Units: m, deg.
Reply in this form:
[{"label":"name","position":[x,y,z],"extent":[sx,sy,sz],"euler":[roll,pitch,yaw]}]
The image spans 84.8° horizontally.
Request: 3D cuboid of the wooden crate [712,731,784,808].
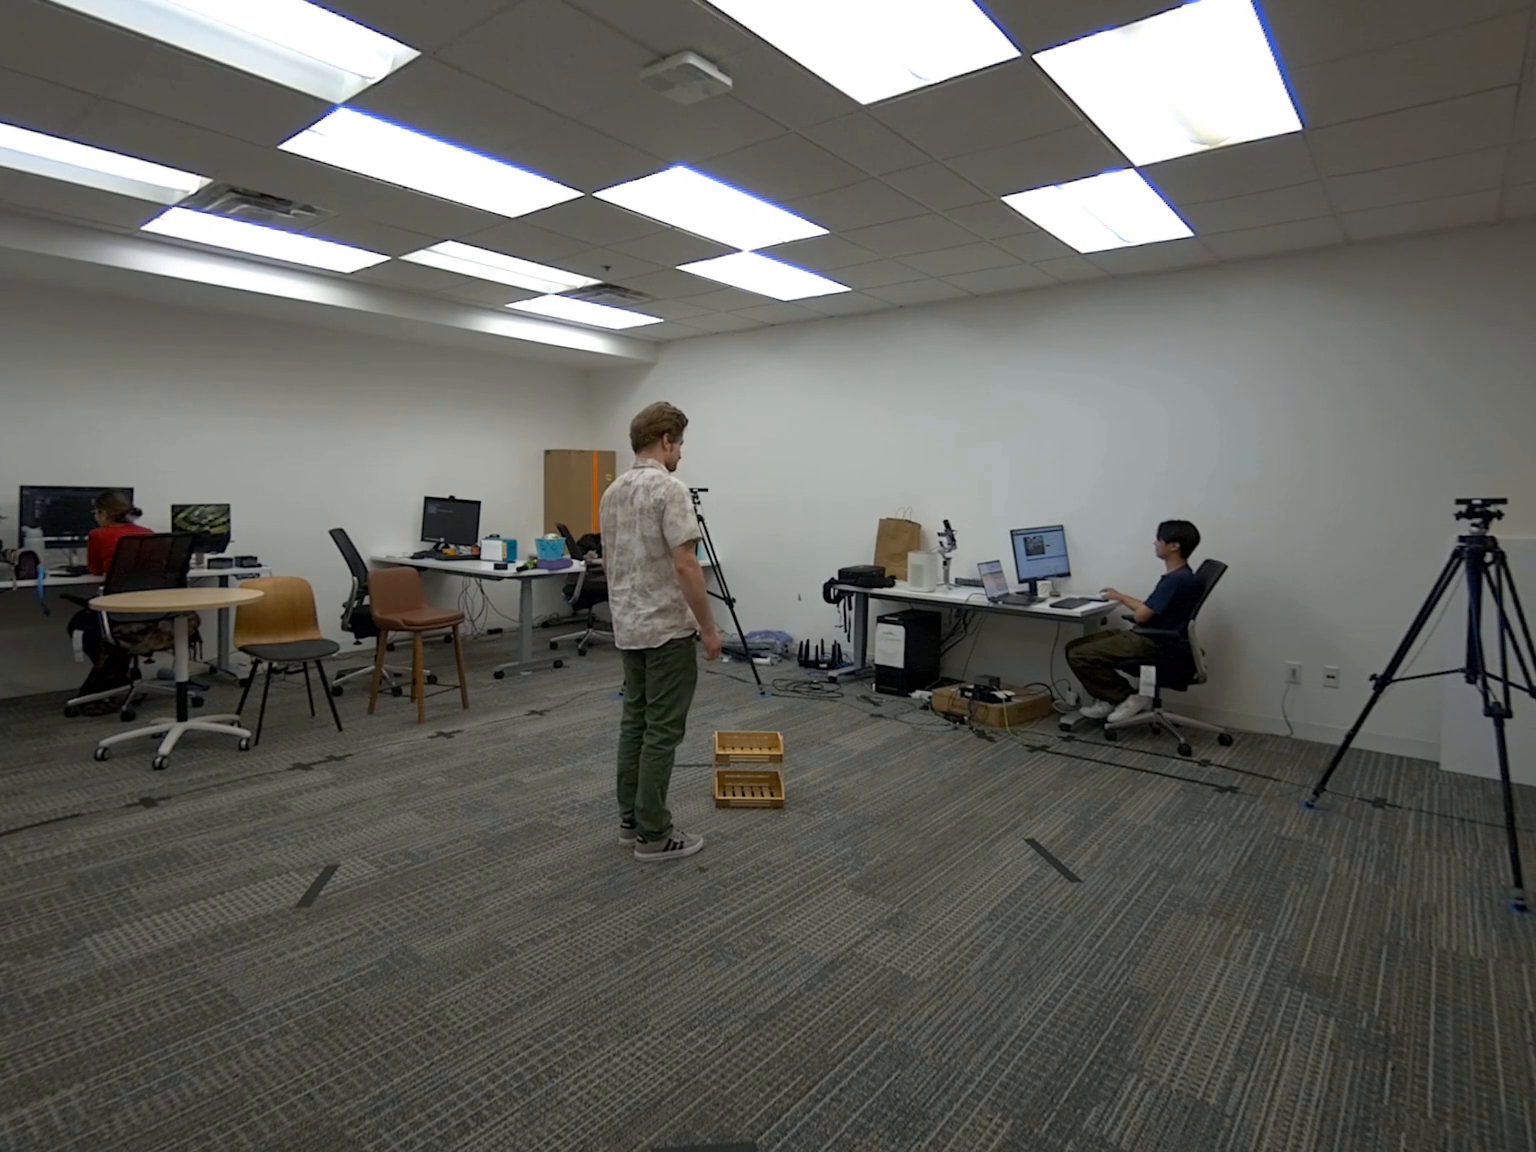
[{"label":"wooden crate","position":[-0.096,0.865,3.852],"extent":[0.323,0.272,0.304],"euler":[1,4,-4]}]
